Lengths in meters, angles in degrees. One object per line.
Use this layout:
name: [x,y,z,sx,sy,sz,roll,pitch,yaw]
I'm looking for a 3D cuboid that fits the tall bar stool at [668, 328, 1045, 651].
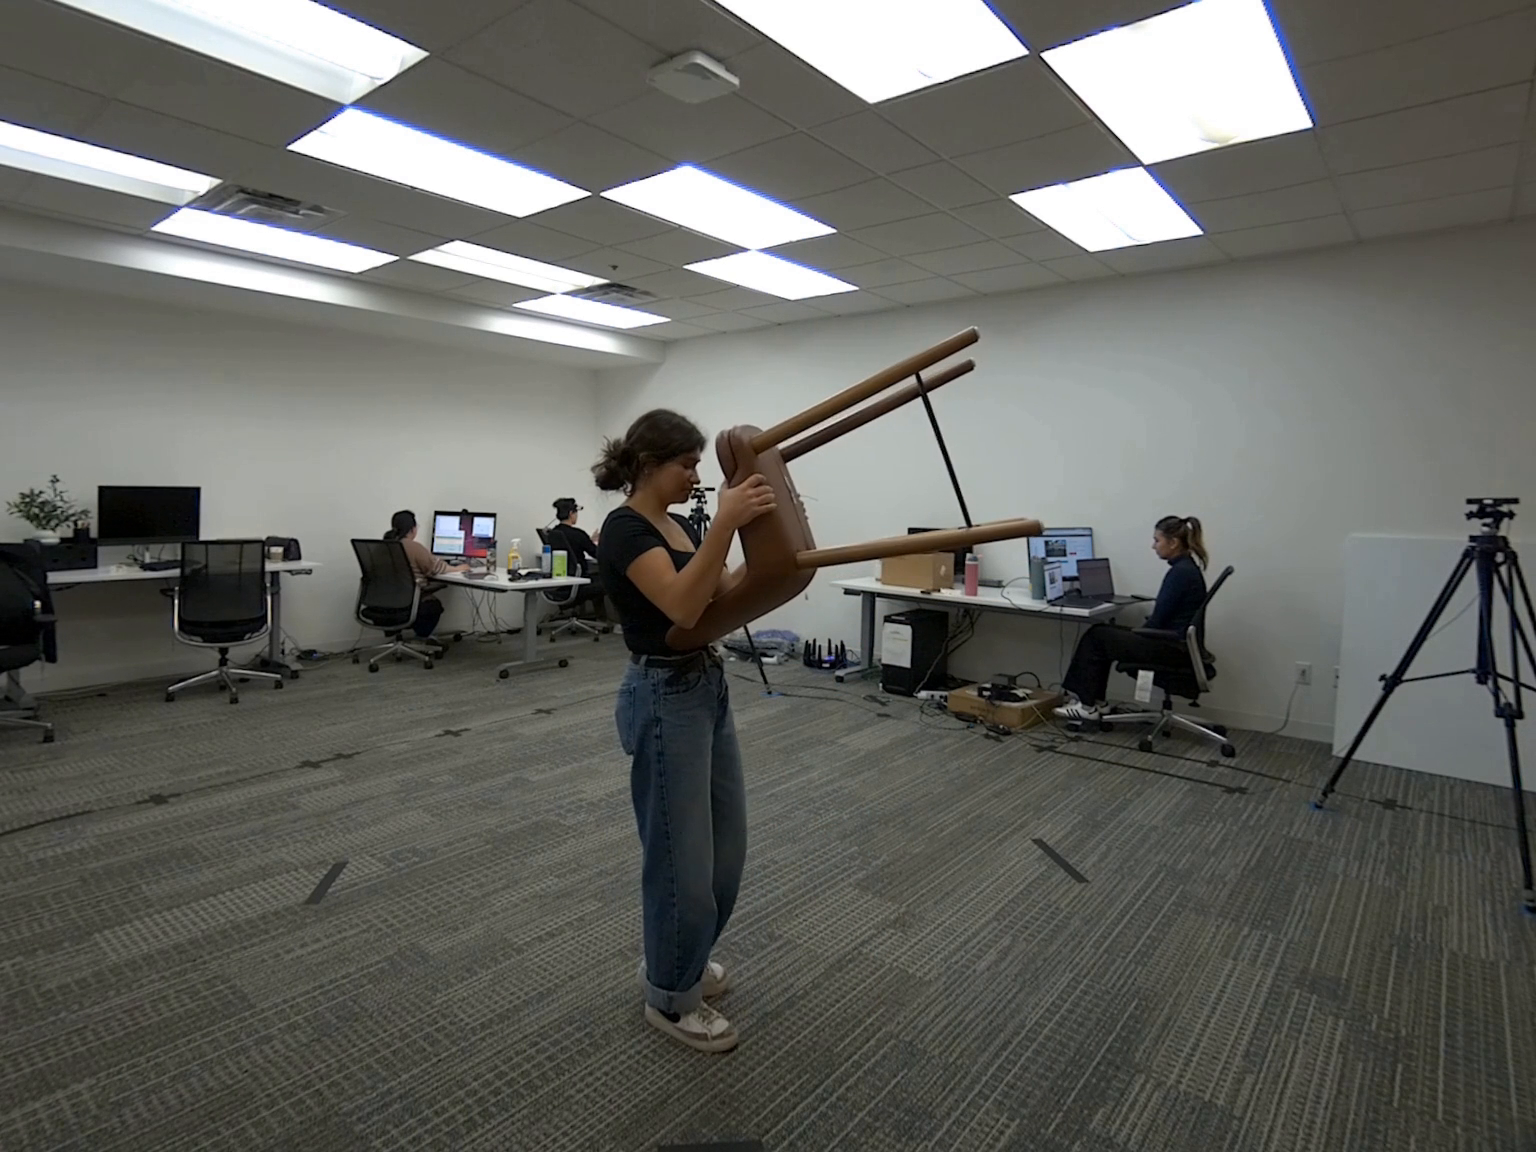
tall bar stool: [0.130,-0.177,2.039,0.899,0.469,0.450,-20,-2,16]
